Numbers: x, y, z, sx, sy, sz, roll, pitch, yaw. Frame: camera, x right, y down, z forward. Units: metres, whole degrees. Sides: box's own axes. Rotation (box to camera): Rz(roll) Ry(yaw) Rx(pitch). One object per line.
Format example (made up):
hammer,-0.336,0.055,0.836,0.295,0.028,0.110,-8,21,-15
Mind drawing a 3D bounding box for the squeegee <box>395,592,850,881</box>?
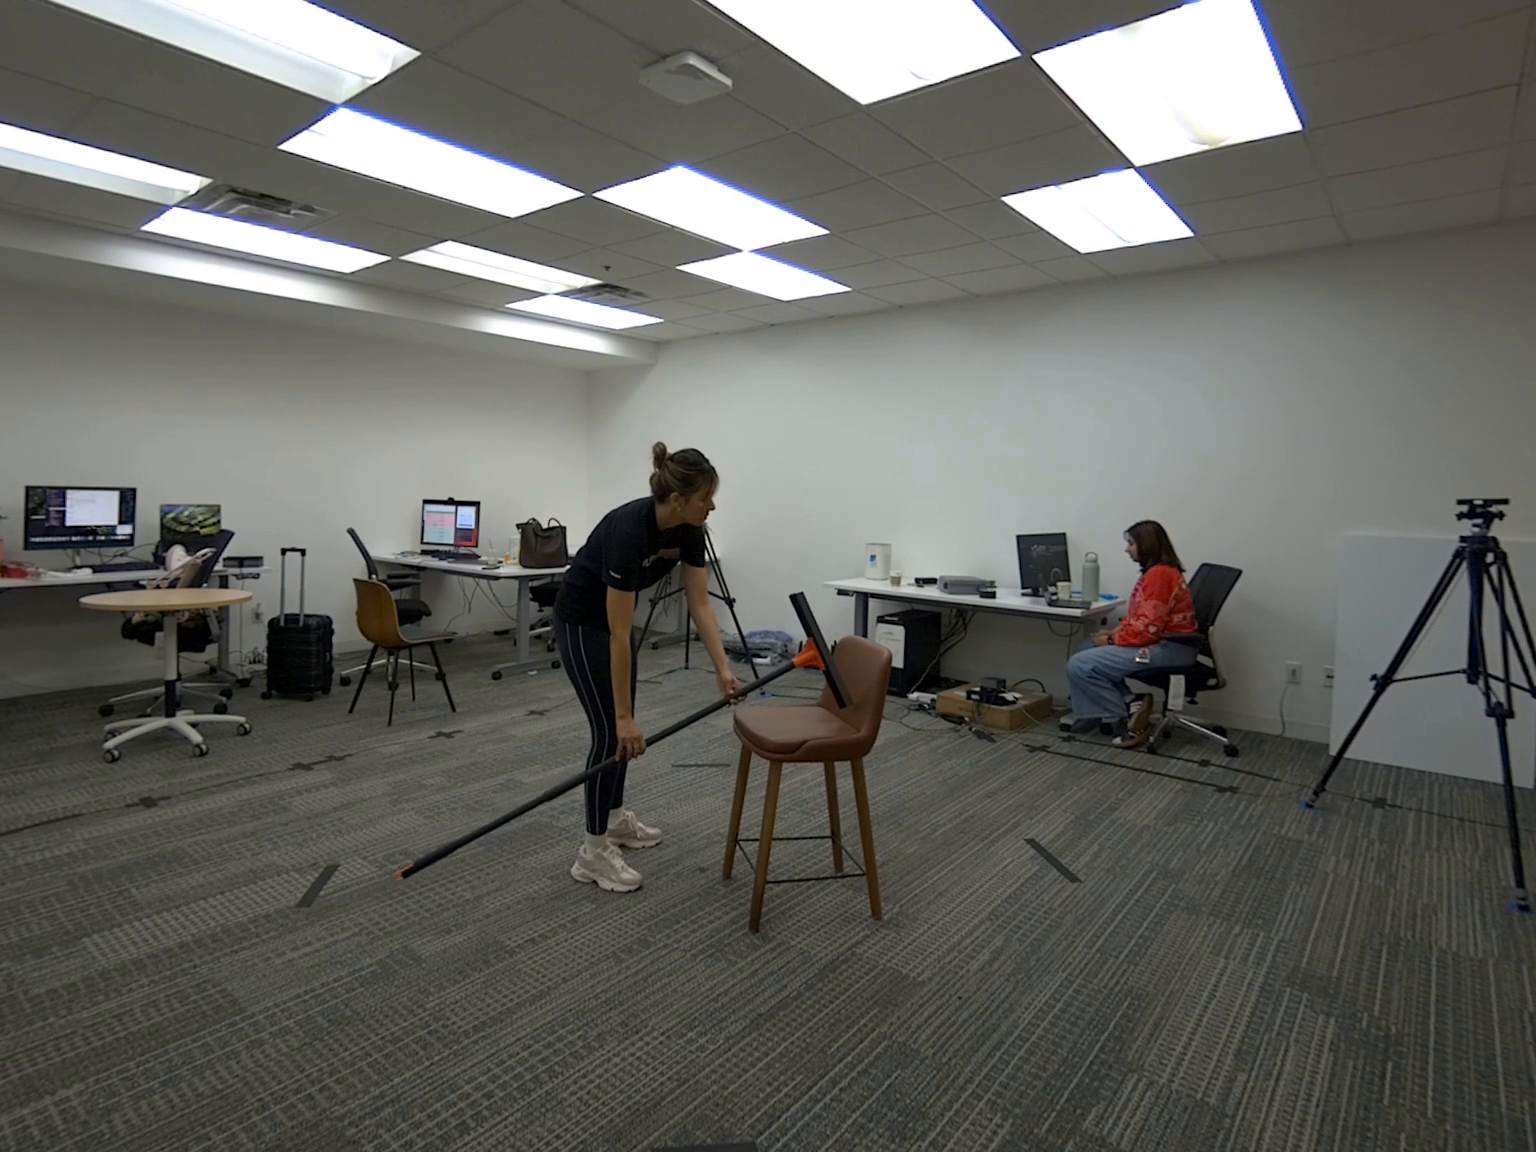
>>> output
squeegee,-0.492,0.595,2.722,1.530,0.442,0.052,-25,-8,-9
